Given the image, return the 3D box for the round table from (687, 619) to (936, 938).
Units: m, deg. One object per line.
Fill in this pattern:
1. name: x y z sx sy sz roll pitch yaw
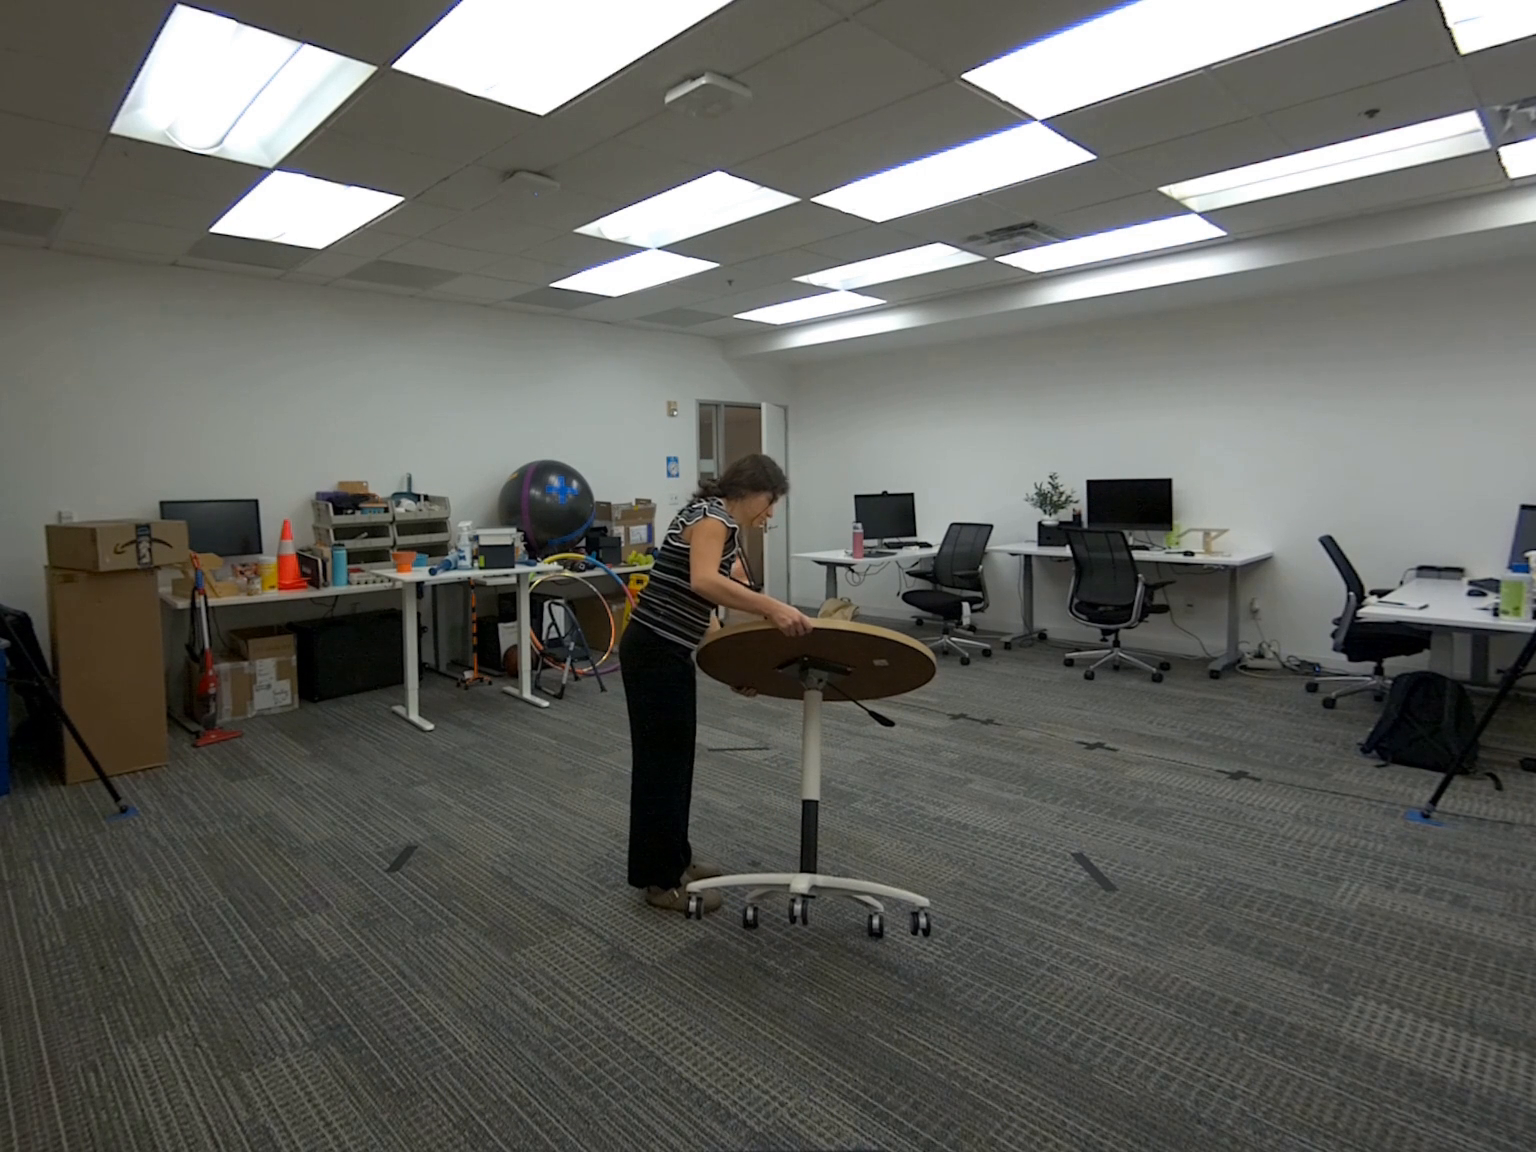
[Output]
1. round table: 0.137 0.637 2.577 0.765 0.809 0.749 3 -25 0
